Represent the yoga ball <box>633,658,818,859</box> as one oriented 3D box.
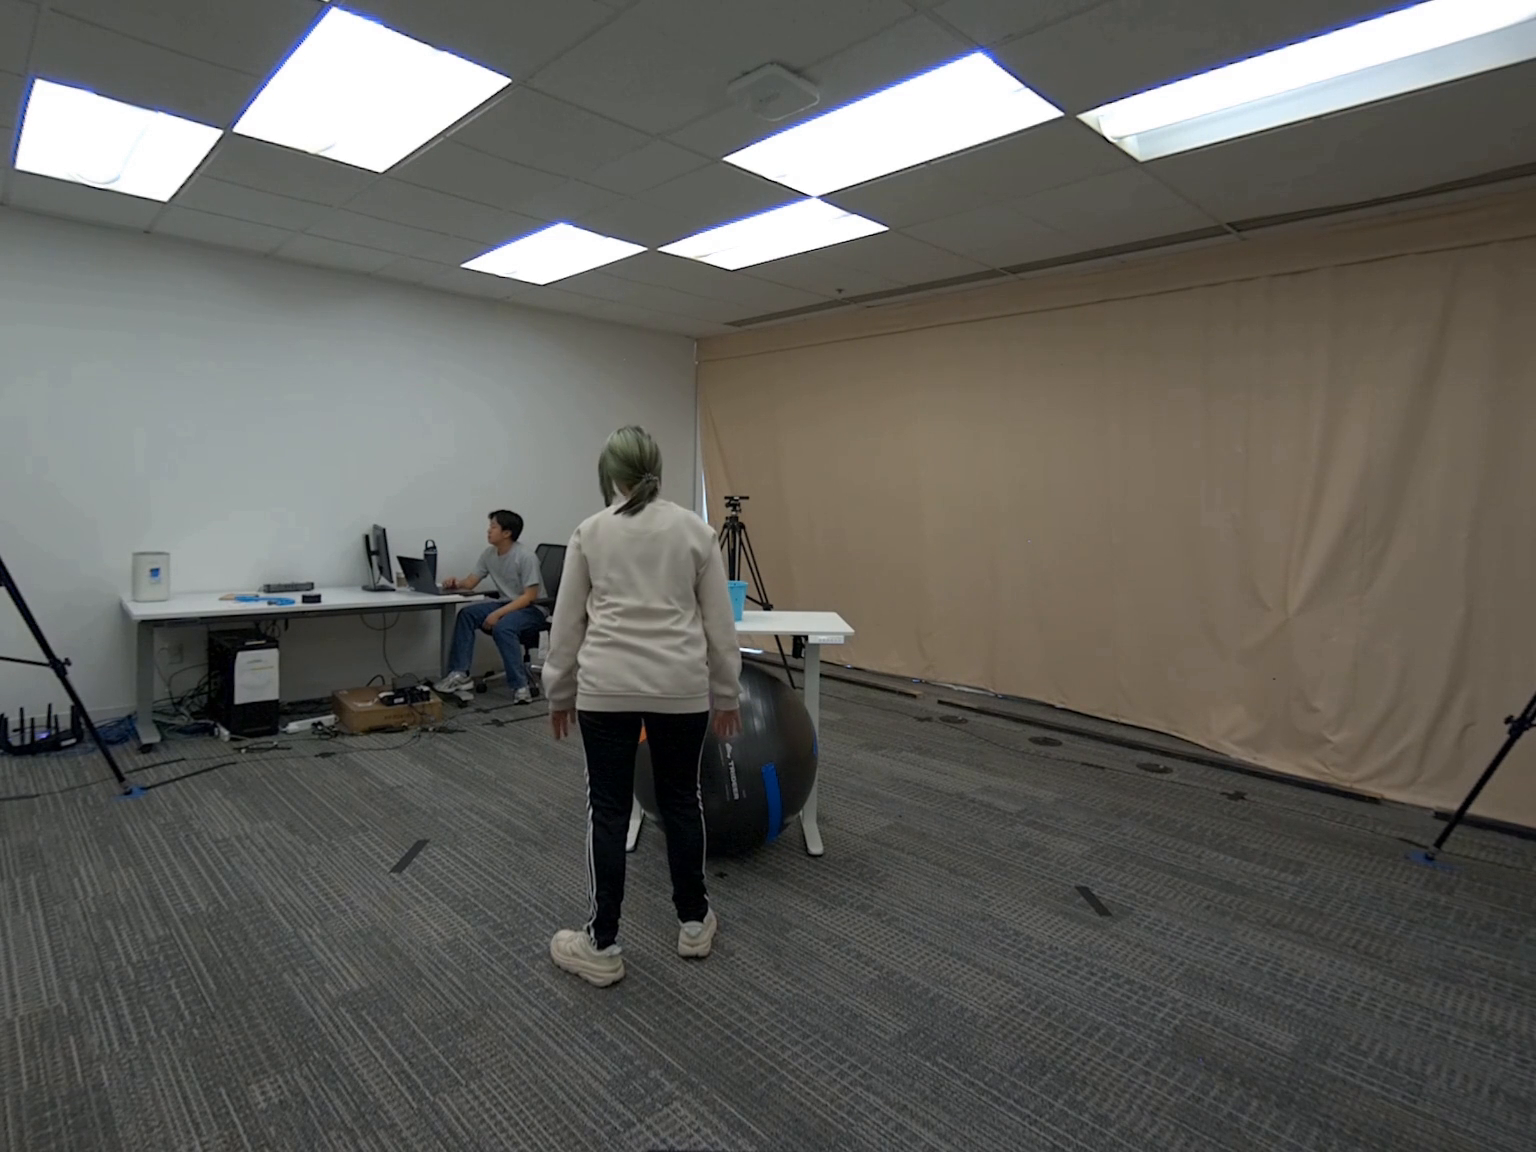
[{"bbox_3d":[-0.185,0.710,3.354,0.757,0.756,0.761,1,4,-1],"label":"yoga ball"}]
